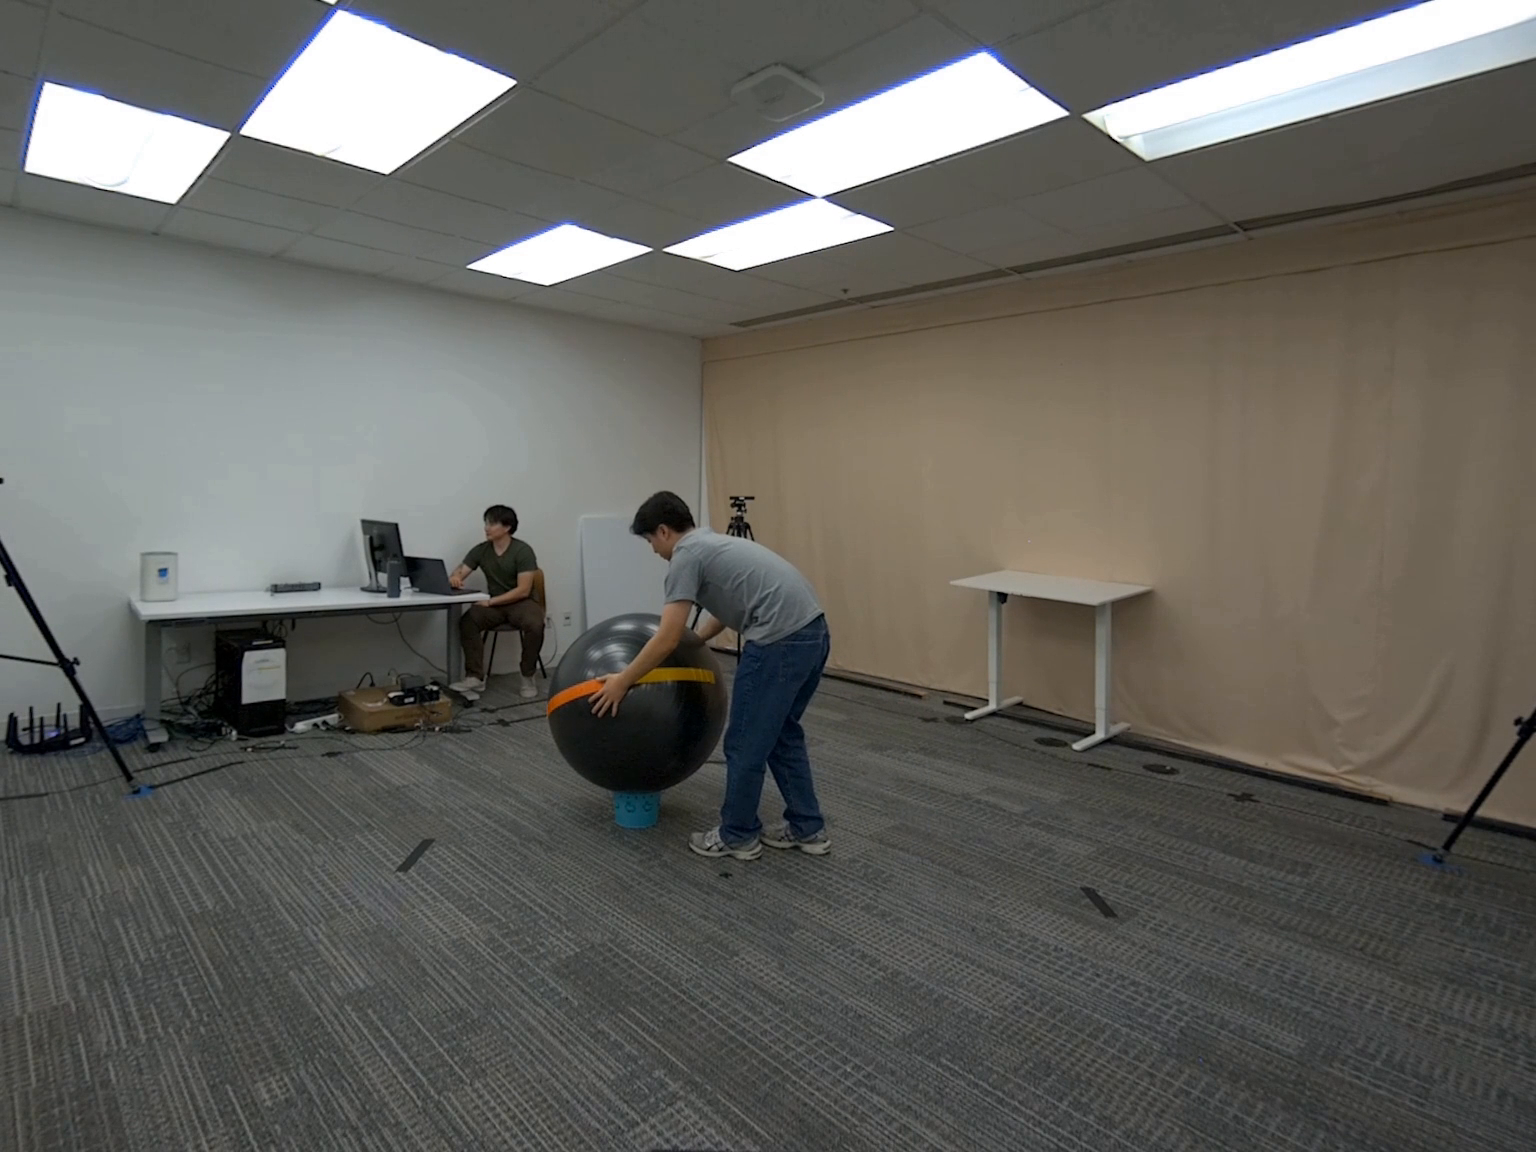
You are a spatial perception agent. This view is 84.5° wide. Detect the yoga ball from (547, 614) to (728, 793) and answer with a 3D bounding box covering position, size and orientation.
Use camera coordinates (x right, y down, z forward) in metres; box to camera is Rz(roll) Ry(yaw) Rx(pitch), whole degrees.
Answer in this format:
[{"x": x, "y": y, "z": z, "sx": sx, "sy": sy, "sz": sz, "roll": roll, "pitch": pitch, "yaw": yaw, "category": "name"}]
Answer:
[{"x": -0.561, "y": 0.545, "z": 3.601, "sx": 0.757, "sy": 0.756, "sz": 0.761, "roll": 1, "pitch": 4, "yaw": -1, "category": "yoga ball"}]
